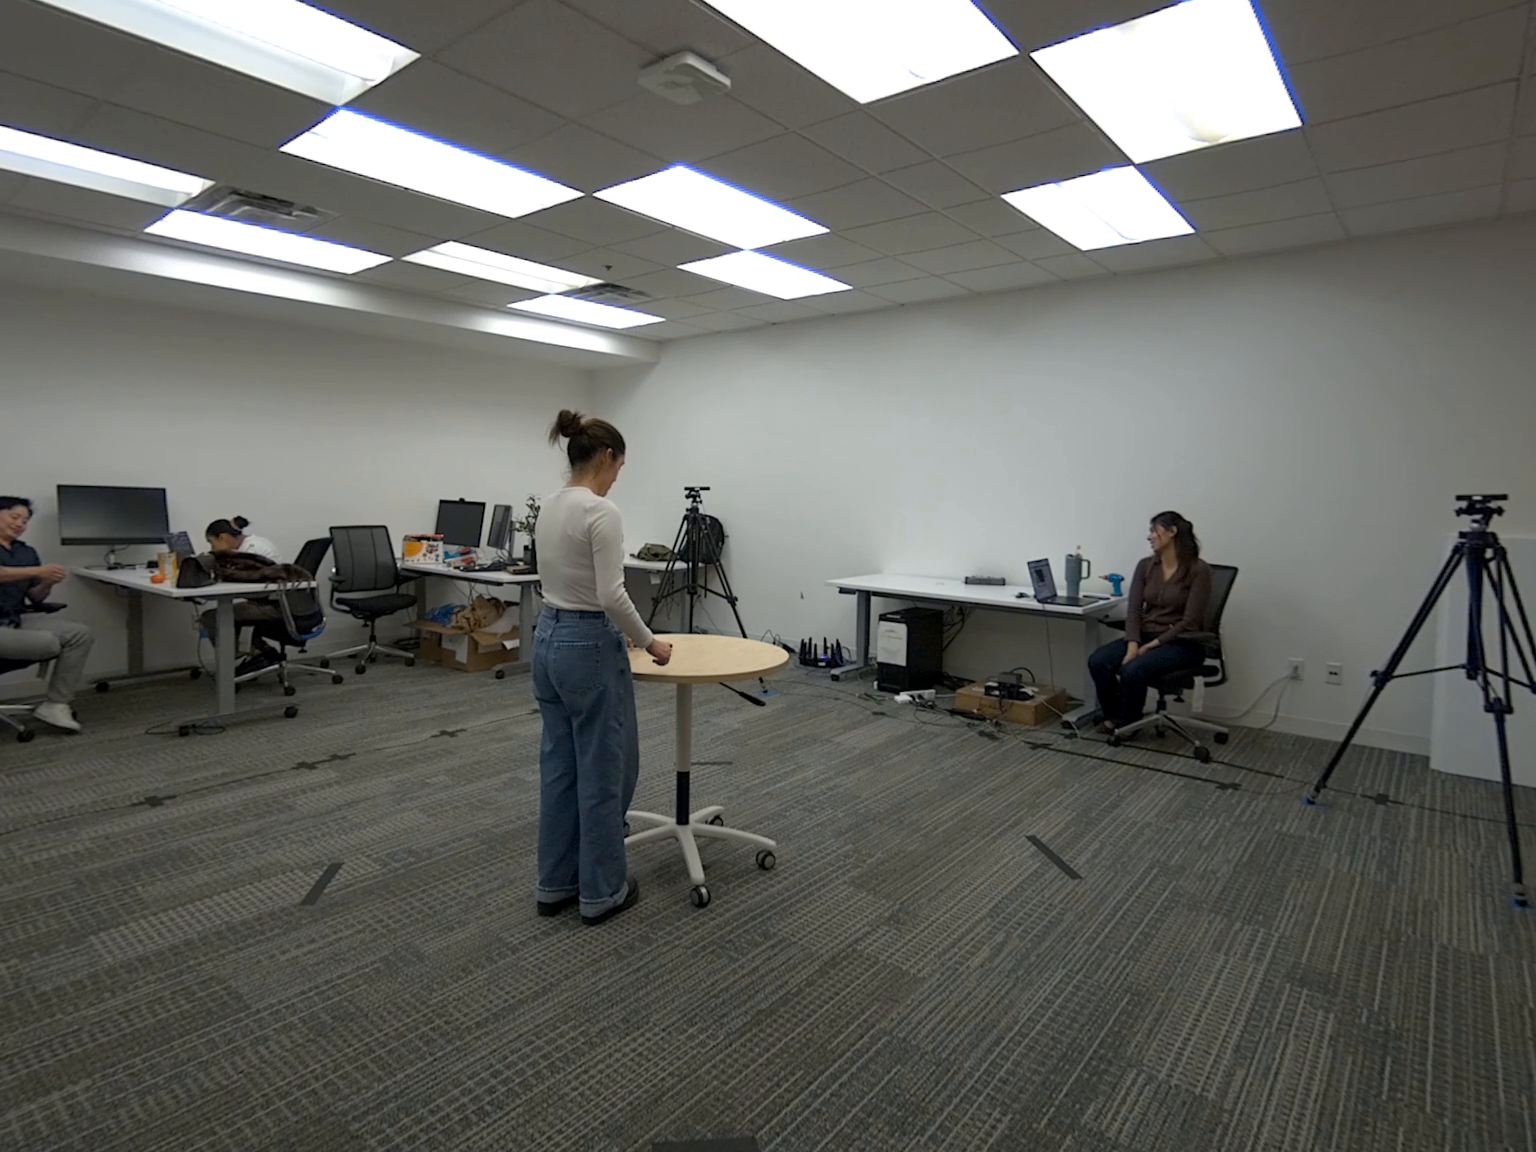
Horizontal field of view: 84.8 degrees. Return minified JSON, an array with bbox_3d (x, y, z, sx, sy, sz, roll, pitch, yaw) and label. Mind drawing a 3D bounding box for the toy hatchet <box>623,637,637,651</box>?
[{"bbox_3d":[-0.505,0.258,3.191,0.275,0.029,0.128,1,0,19],"label":"toy hatchet"}]
